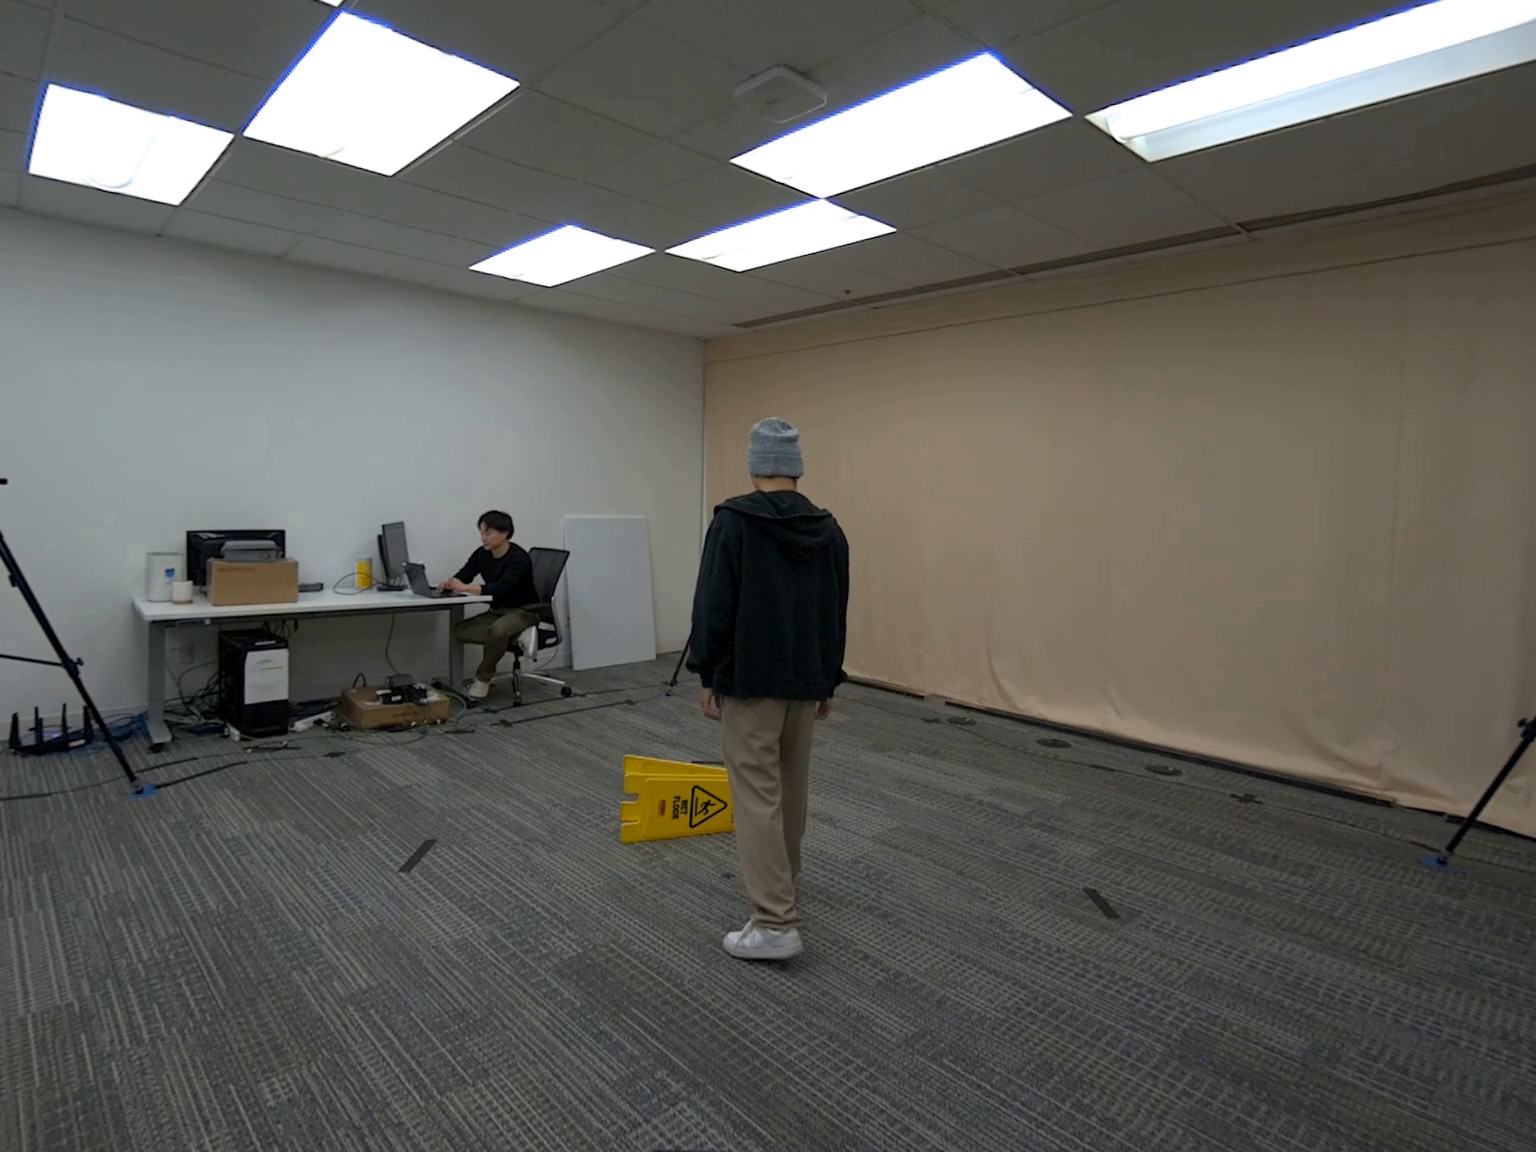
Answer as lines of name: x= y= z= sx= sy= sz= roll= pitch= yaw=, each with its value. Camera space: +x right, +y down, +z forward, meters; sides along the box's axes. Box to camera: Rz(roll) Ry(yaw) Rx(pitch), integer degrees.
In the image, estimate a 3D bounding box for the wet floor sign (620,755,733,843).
wet floor sign: x=-0.298 y=0.938 z=3.552 sx=0.641 sy=0.282 sz=0.292 roll=4 pitch=4 yaw=-9
